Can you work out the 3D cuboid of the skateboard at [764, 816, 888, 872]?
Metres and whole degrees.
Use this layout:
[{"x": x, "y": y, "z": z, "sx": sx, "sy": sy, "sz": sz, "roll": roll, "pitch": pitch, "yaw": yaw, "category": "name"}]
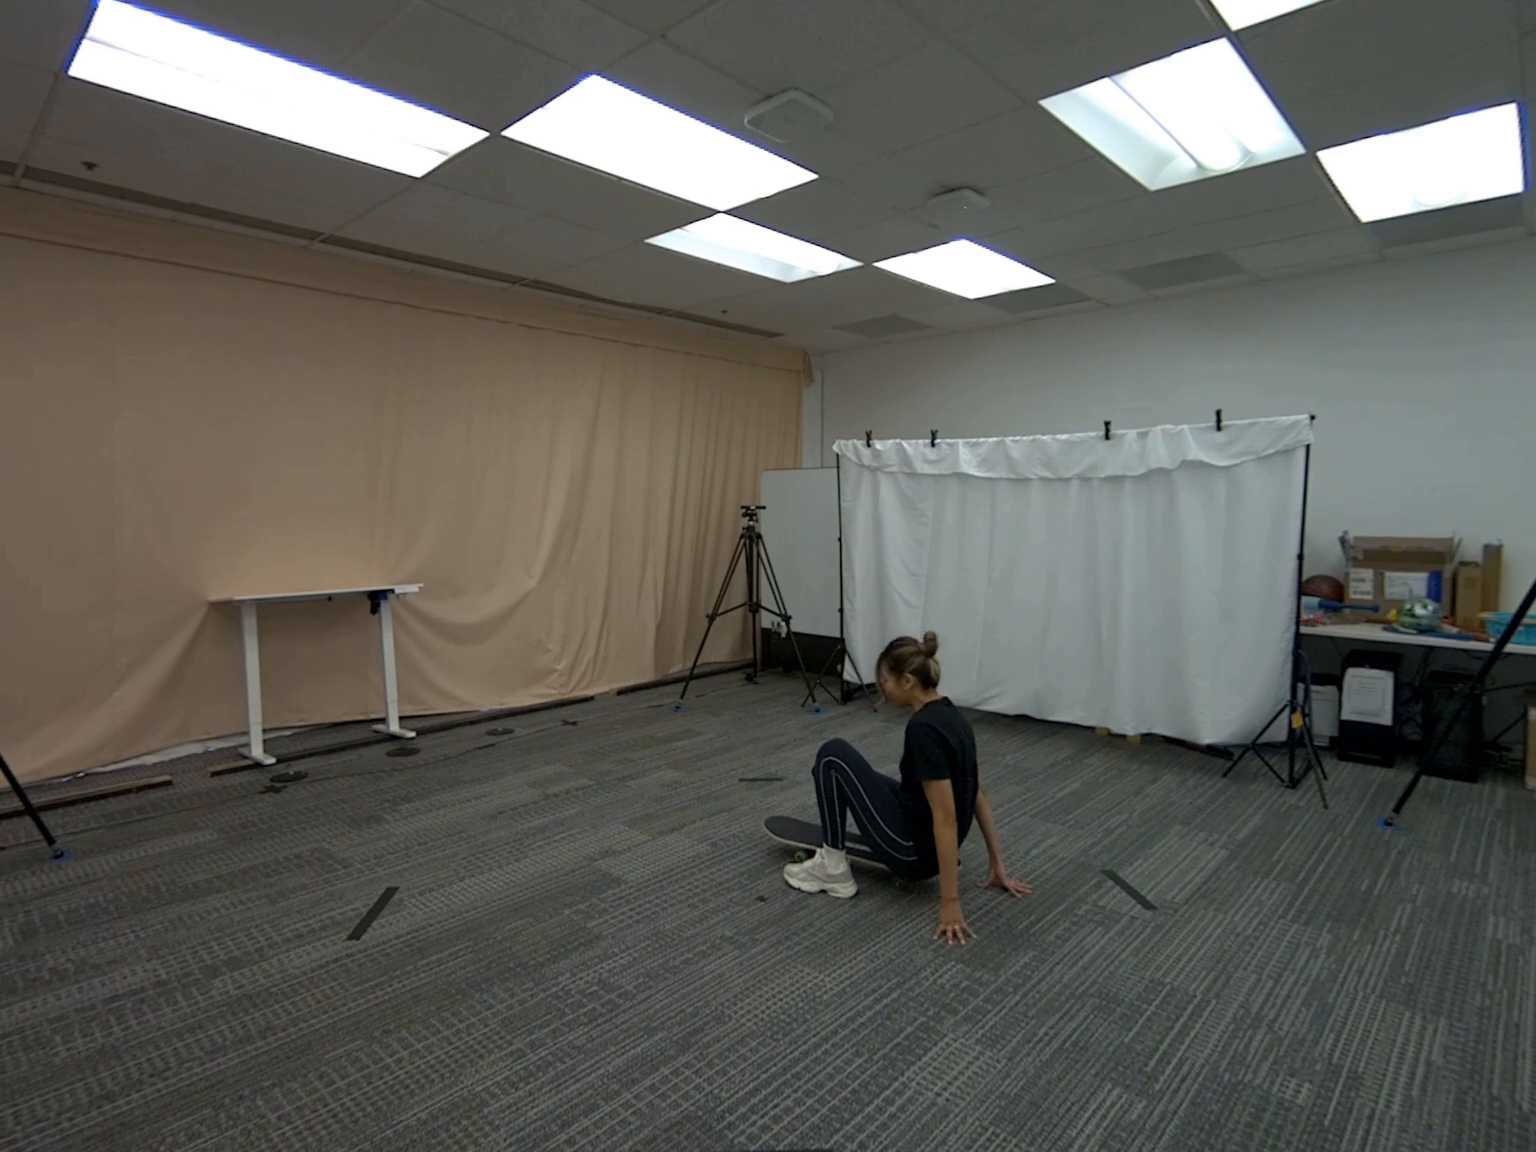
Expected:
[{"x": 0.340, "y": 1.062, "z": 3.222, "sx": 0.809, "sy": 0.110, "sz": 0.188, "roll": 4, "pitch": 8, "yaw": 30, "category": "skateboard"}]
